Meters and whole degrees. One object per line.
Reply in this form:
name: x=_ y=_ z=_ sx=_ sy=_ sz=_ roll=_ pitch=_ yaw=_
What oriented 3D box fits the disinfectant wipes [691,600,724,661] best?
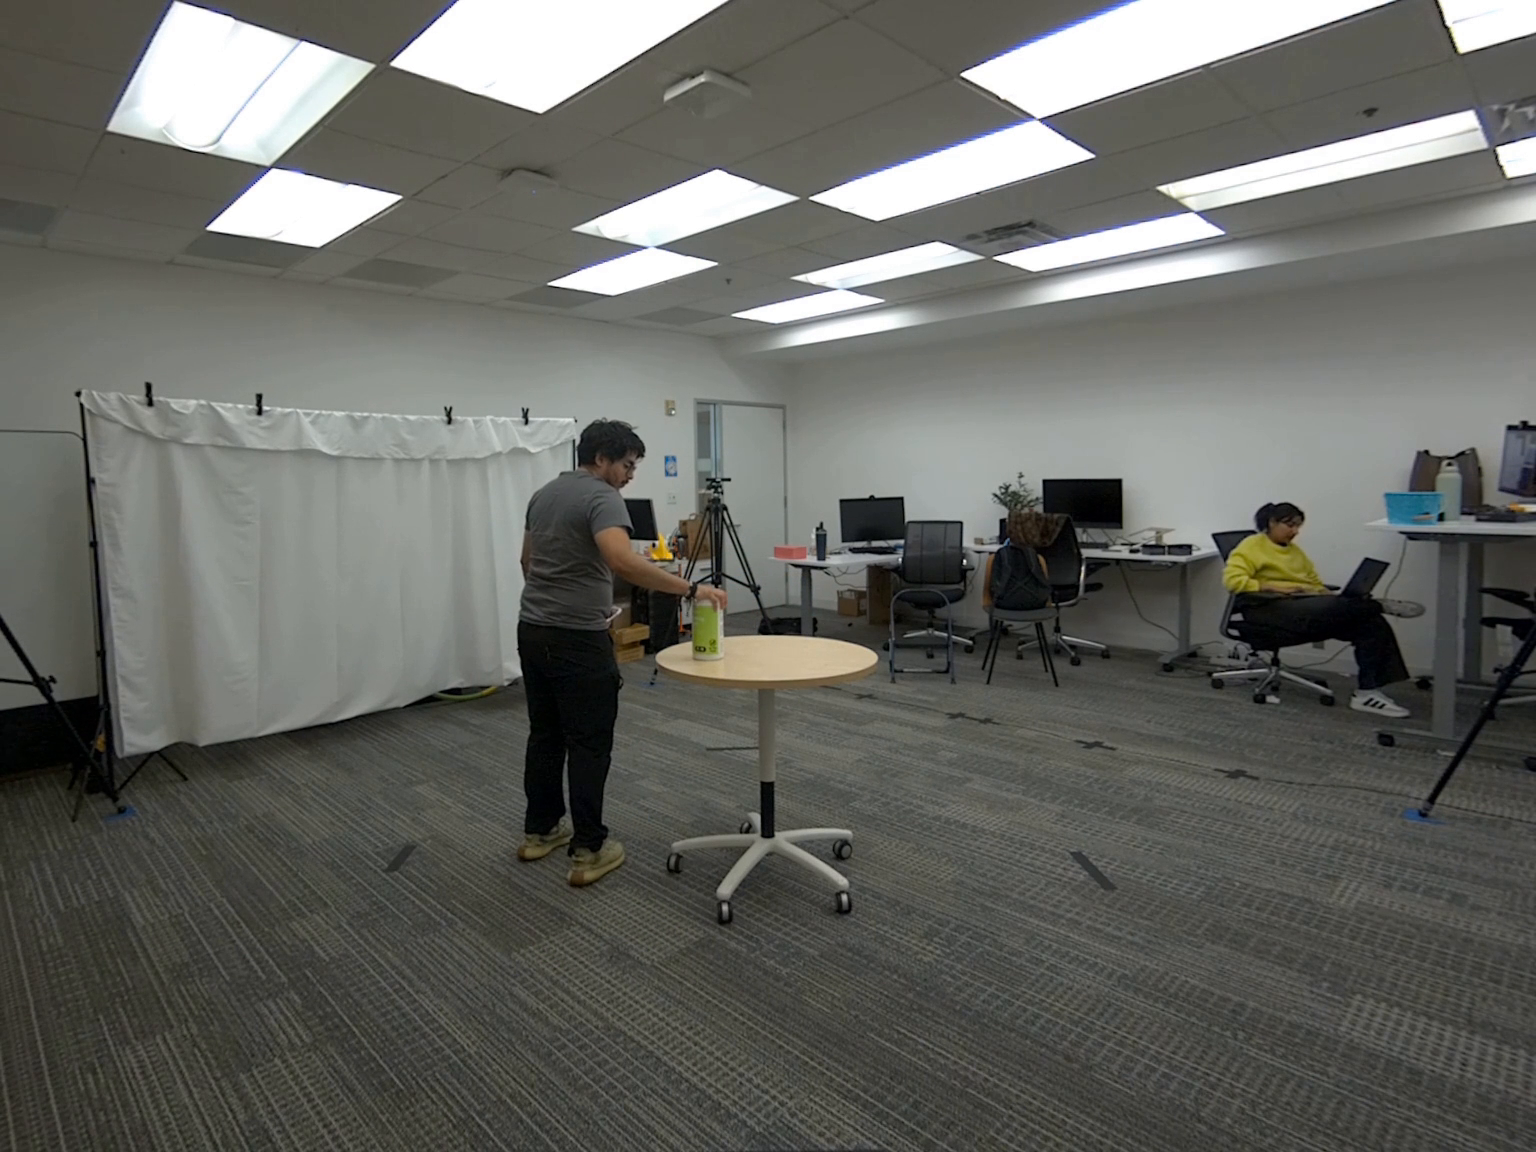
disinfectant wipes: x=-0.207 y=0.177 z=2.926 sx=0.118 sy=0.216 sz=0.118 roll=-4 pitch=4 yaw=-1
